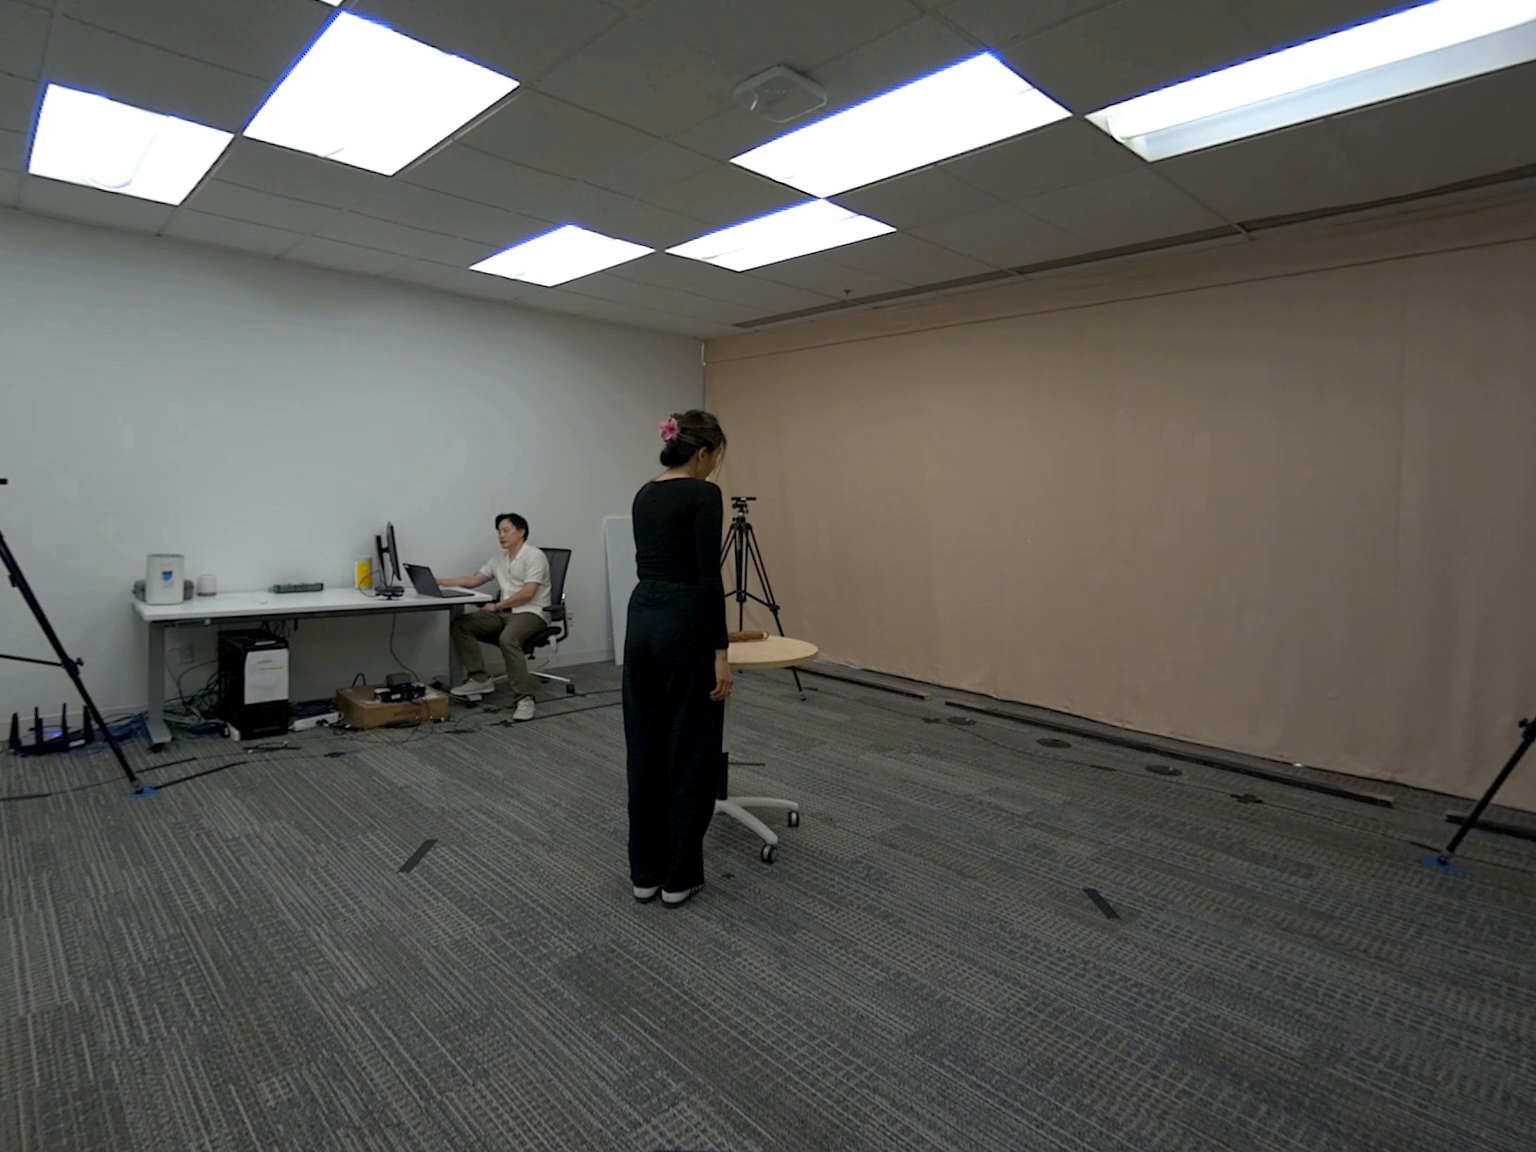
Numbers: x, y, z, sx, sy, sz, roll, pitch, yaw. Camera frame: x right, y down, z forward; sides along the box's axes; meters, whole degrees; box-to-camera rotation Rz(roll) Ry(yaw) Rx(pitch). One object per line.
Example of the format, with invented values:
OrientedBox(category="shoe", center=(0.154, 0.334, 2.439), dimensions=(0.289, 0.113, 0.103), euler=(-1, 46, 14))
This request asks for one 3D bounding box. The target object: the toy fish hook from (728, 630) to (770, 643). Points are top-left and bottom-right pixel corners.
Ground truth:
OrientedBox(category="toy fish hook", center=(-0.215, 0.278, 3.526), dimensions=(0.498, 0.048, 0.230), euler=(-2, 13, -23))
